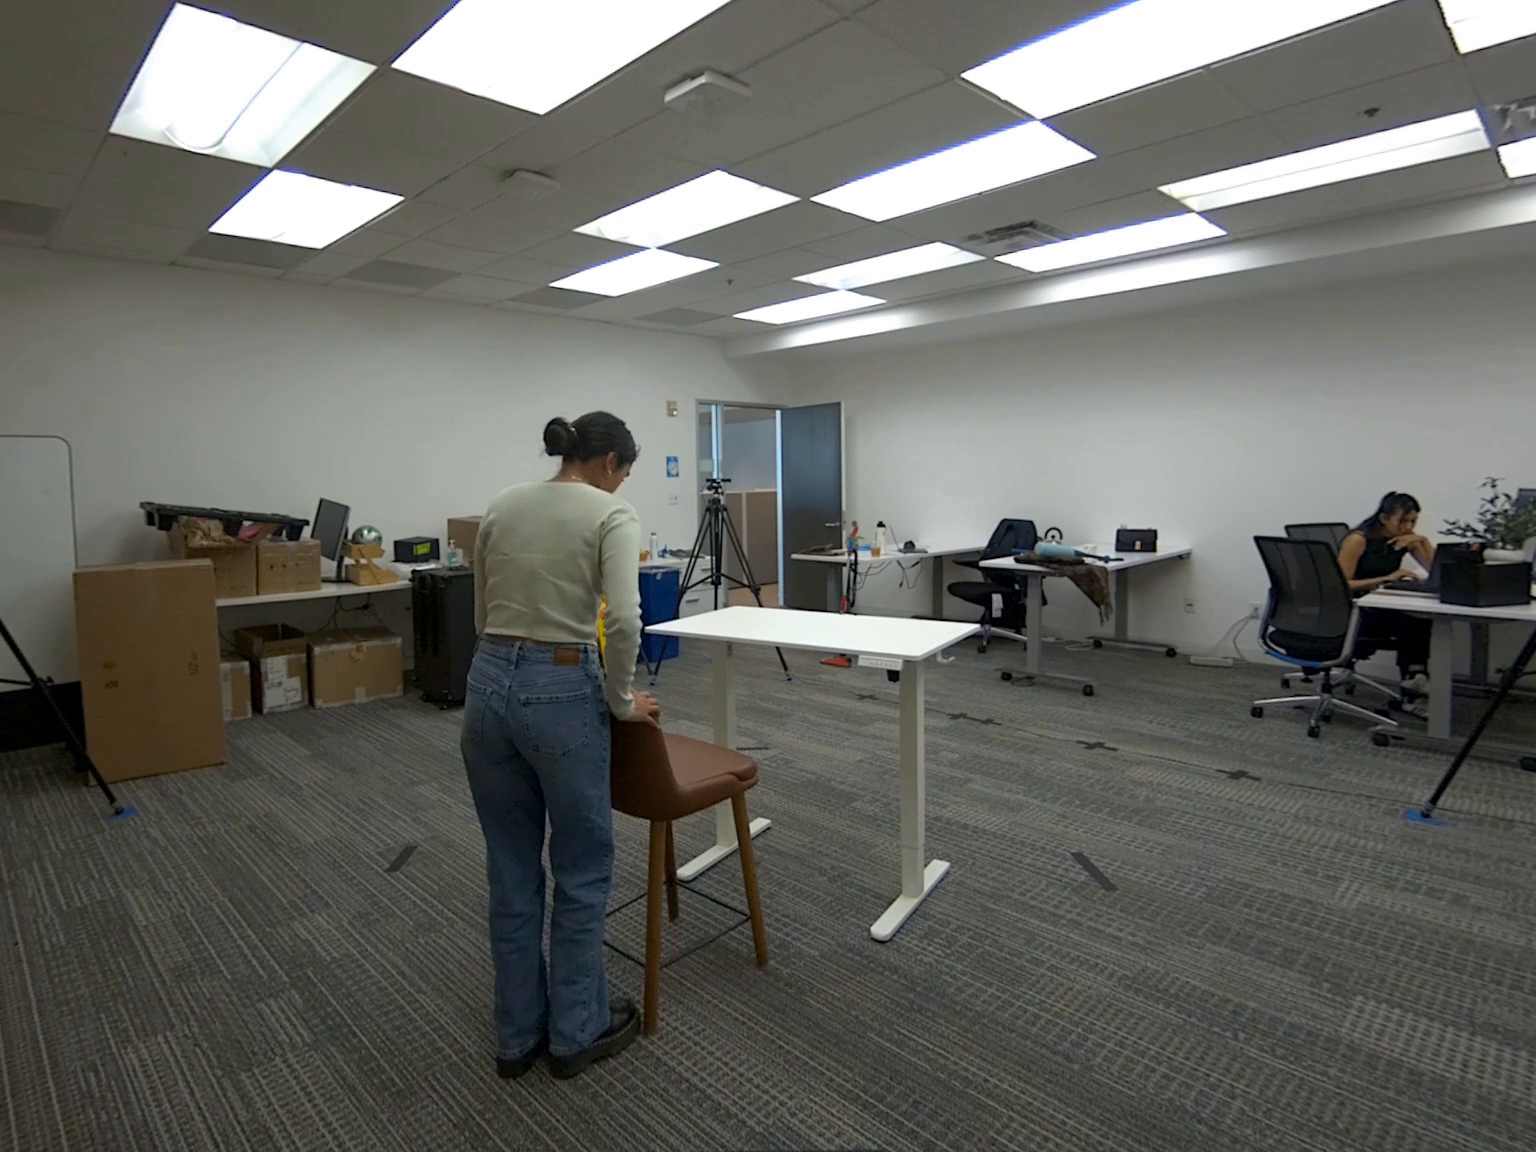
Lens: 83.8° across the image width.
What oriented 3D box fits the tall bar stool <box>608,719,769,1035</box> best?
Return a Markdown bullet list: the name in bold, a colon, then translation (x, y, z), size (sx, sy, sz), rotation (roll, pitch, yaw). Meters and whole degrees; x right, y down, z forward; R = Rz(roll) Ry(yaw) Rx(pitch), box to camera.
- **tall bar stool**: translation (-0.299, 0.690, 2.413), size (0.470, 0.885, 0.456), rotation (3, 8, 42)
